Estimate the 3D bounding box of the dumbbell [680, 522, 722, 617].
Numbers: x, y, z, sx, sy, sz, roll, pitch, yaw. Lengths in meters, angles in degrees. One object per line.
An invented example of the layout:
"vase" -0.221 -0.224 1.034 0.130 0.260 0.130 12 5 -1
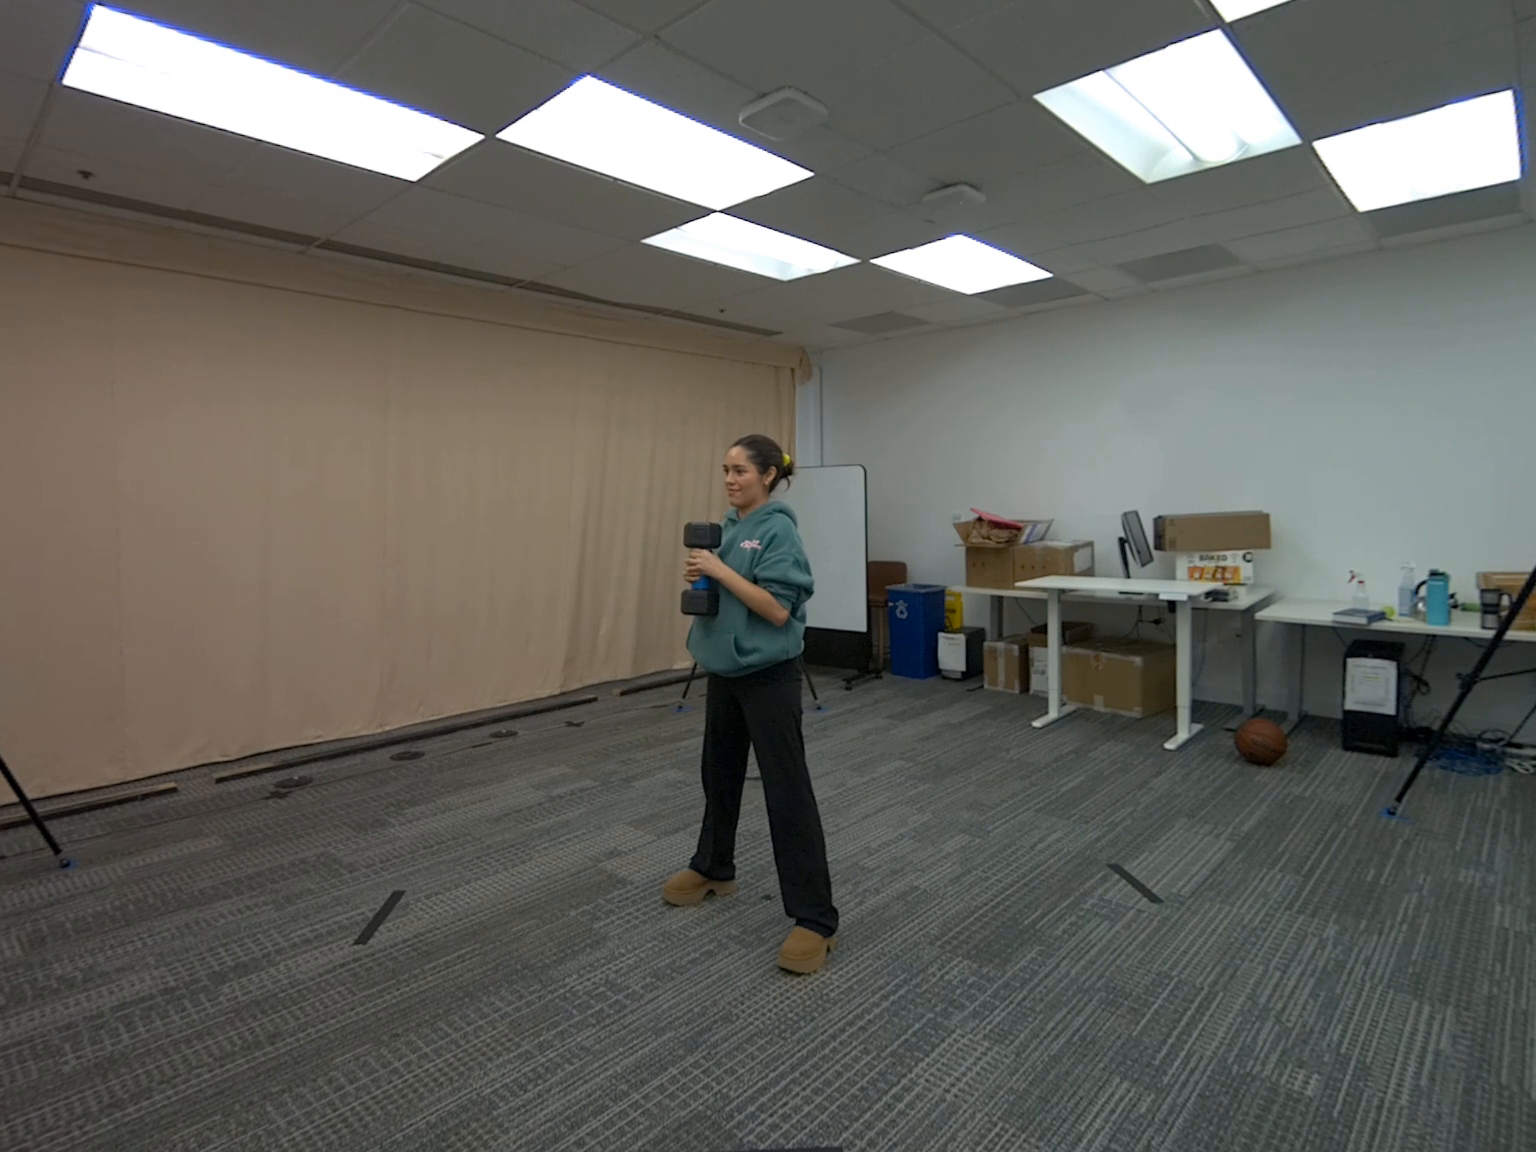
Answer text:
"dumbbell" -0.210 -0.015 2.675 0.123 0.294 0.108 1 -4 3
